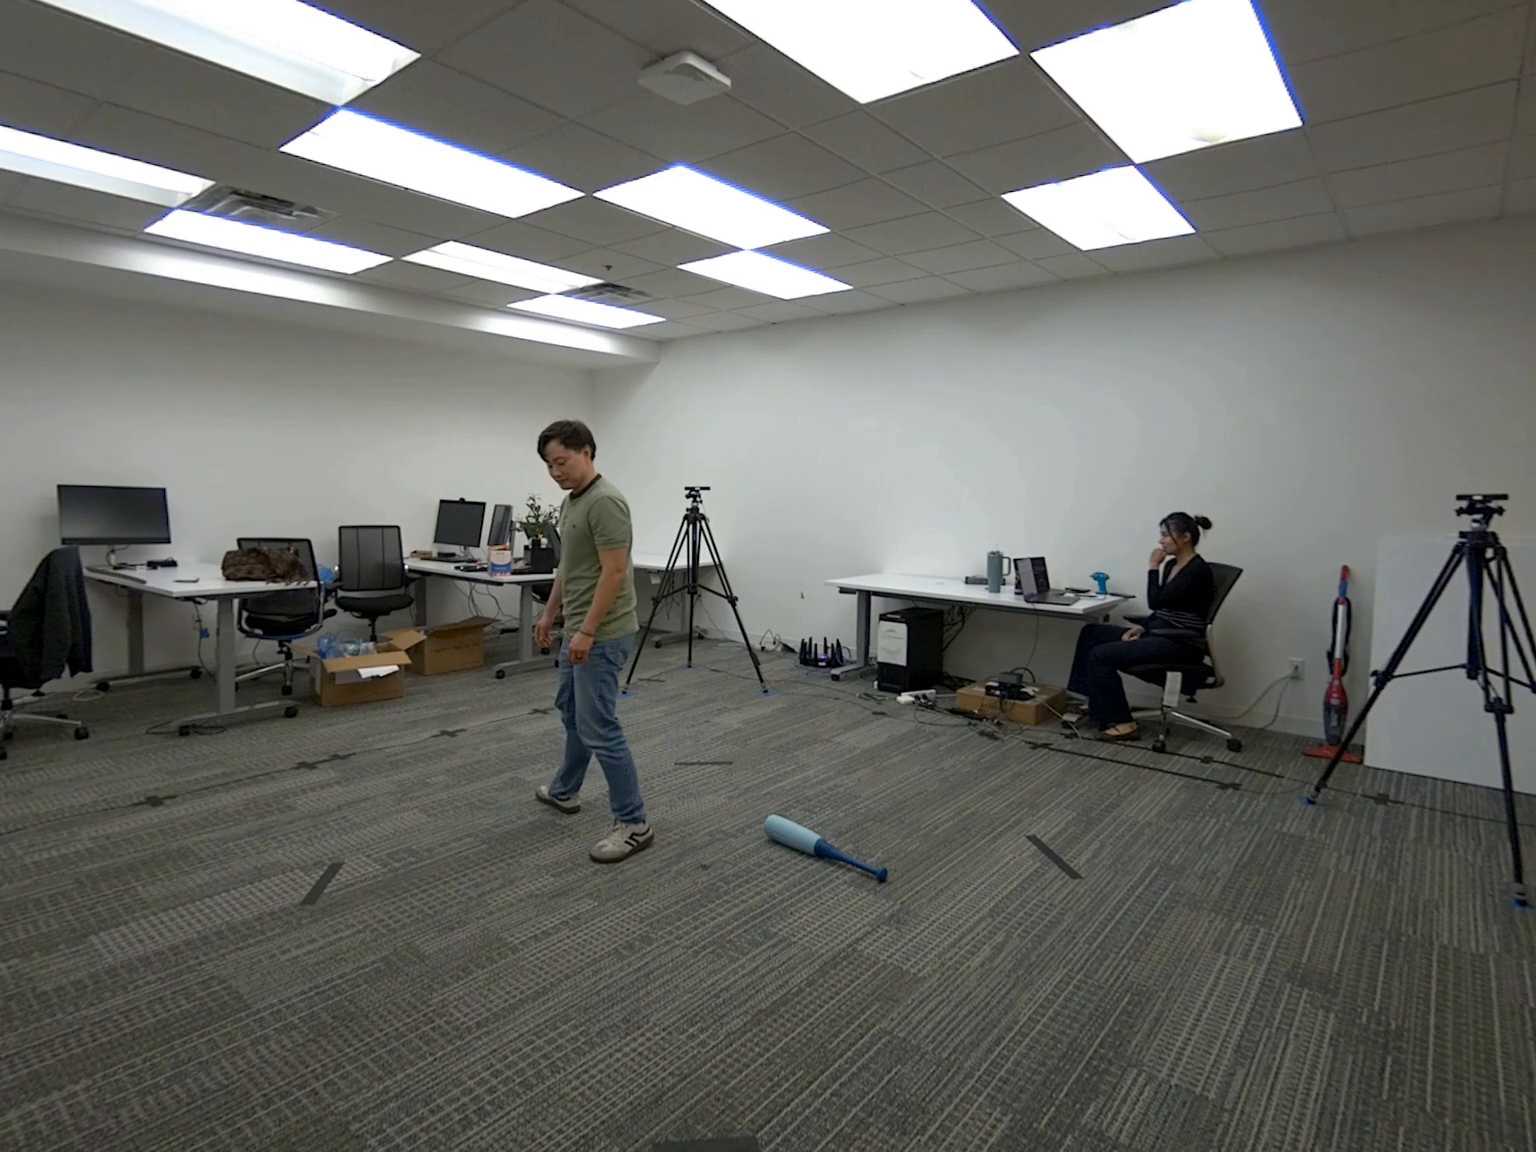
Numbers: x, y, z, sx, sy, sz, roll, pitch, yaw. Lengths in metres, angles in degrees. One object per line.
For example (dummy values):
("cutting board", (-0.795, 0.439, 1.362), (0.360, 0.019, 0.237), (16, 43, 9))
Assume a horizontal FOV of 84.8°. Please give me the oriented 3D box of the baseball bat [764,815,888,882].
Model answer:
("baseball bat", (0.207, 1.030, 3.209), (0.563, 0.088, 0.086), (11, 10, 40))
